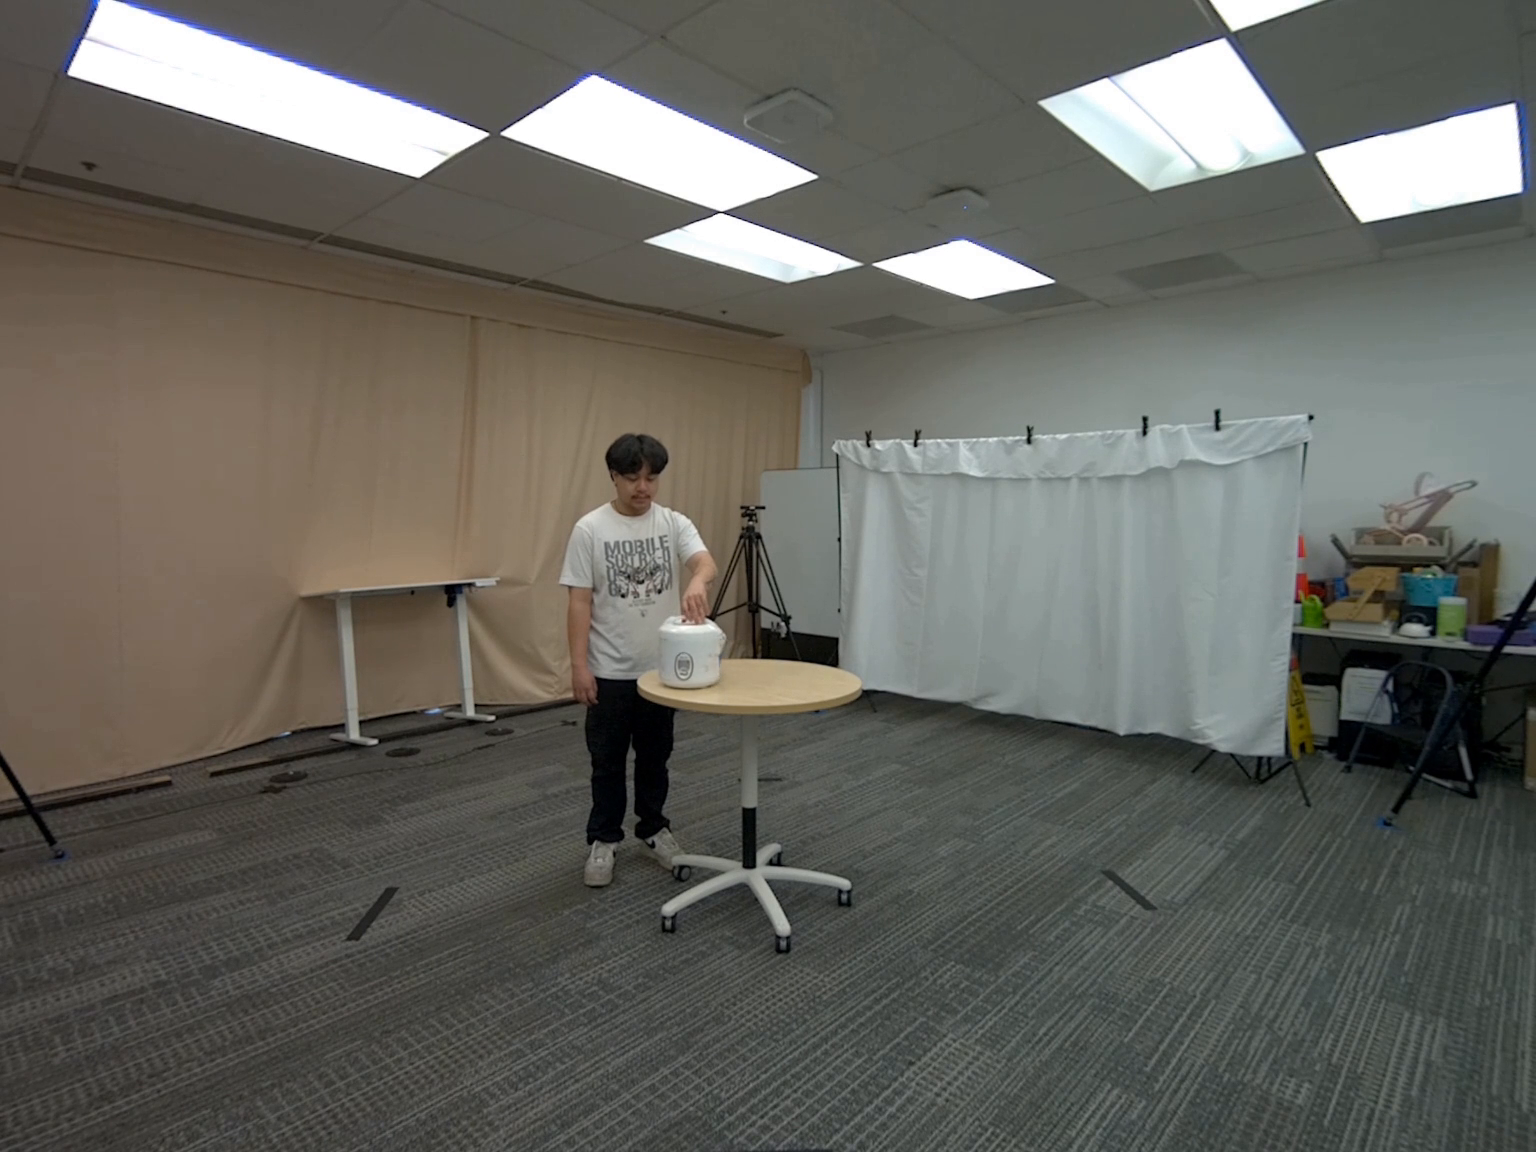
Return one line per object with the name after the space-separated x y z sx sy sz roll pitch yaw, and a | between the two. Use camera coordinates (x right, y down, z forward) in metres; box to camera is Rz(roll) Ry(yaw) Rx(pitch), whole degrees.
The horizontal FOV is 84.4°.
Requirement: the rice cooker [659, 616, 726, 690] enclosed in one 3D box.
-0.258 0.247 2.810 0.222 0.232 0.216 0 4 7 | rice cooker
